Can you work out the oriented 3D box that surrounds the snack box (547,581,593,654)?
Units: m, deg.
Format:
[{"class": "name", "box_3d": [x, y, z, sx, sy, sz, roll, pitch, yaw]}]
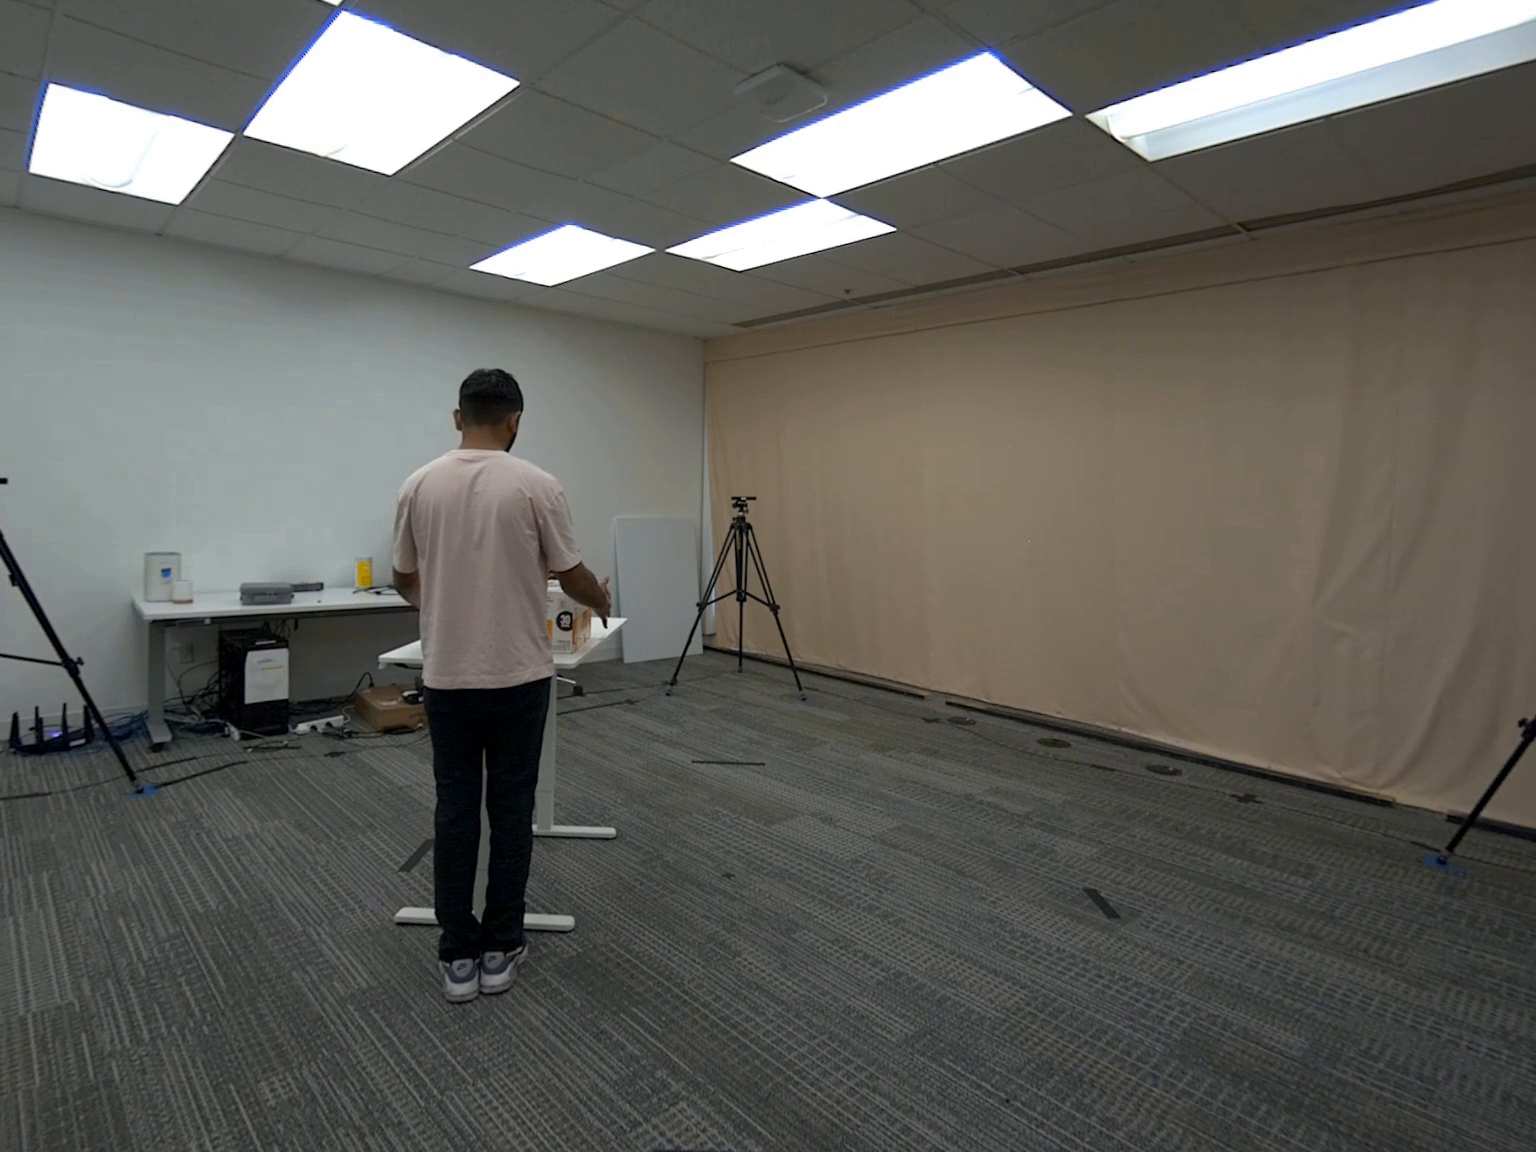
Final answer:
[{"class": "snack box", "box_3d": [-0.832, 0.132, 2.843, 0.405, 0.205, 0.341, 1, 4, -1]}]
